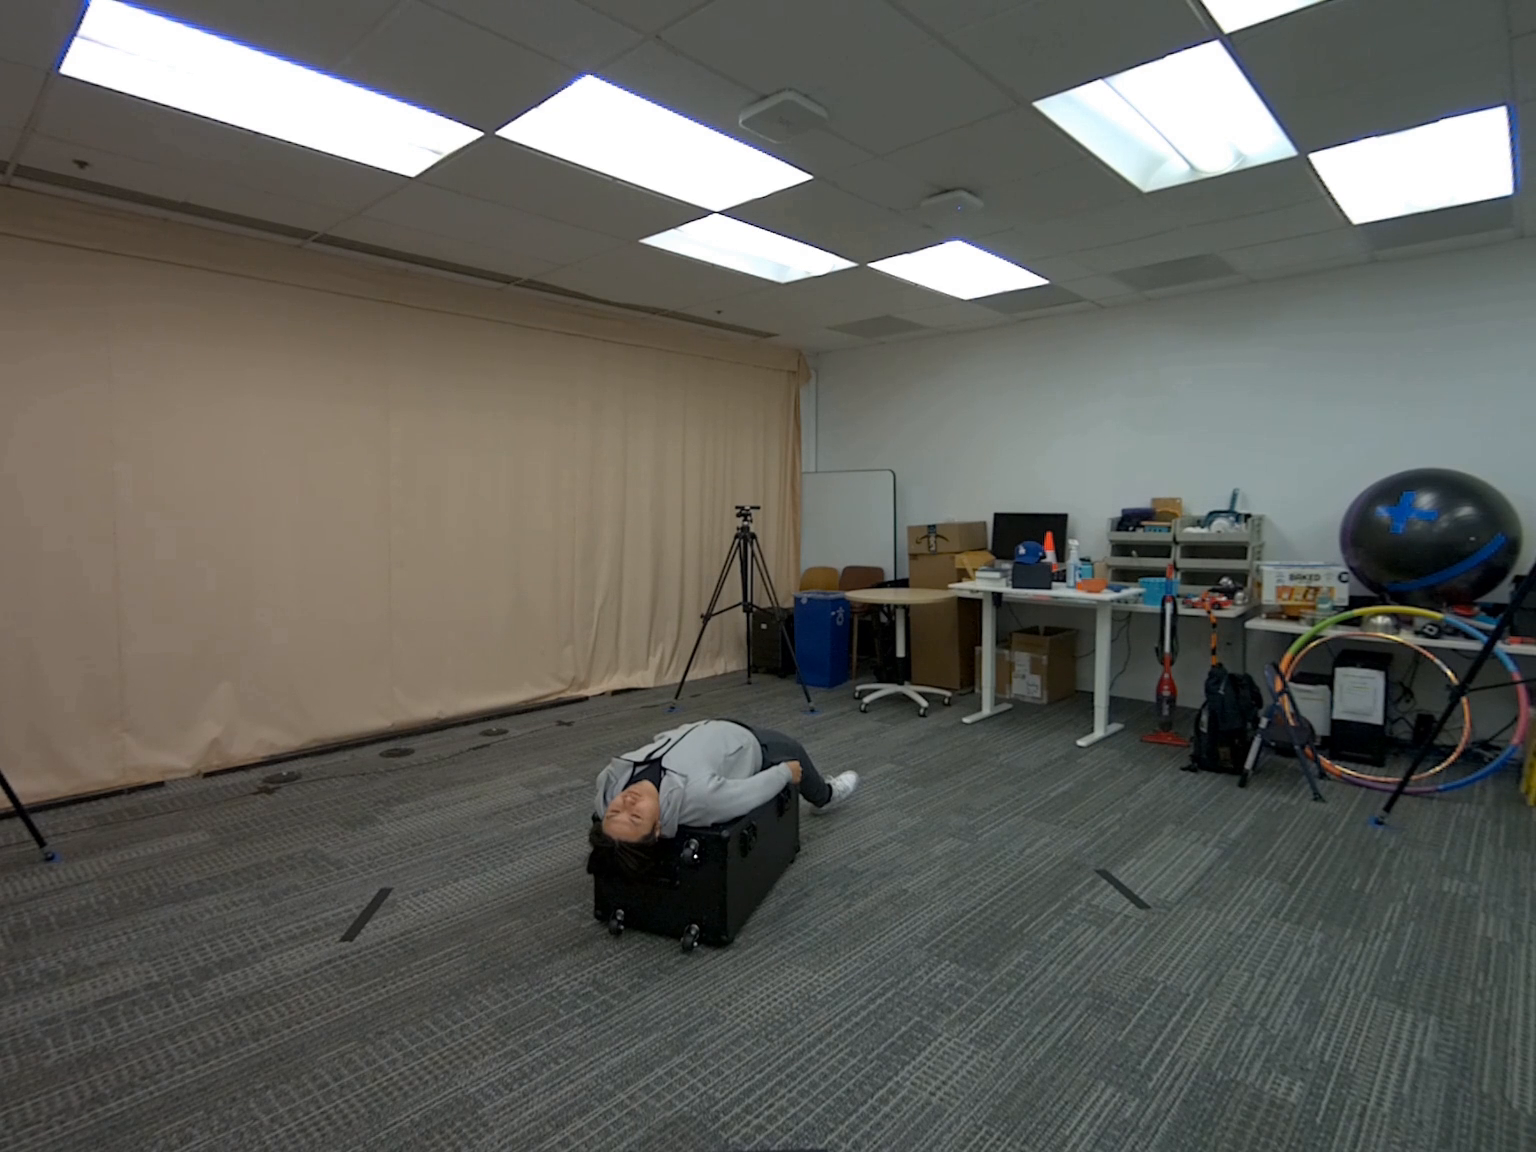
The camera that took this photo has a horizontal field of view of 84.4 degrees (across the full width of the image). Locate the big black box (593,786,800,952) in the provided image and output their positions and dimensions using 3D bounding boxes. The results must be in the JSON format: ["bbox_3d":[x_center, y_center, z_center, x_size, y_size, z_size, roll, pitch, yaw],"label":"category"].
[{"bbox_3d":[-0.209,0.952,3.087,0.533,0.395,0.844,2,5,21],"label":"big black box"}]
